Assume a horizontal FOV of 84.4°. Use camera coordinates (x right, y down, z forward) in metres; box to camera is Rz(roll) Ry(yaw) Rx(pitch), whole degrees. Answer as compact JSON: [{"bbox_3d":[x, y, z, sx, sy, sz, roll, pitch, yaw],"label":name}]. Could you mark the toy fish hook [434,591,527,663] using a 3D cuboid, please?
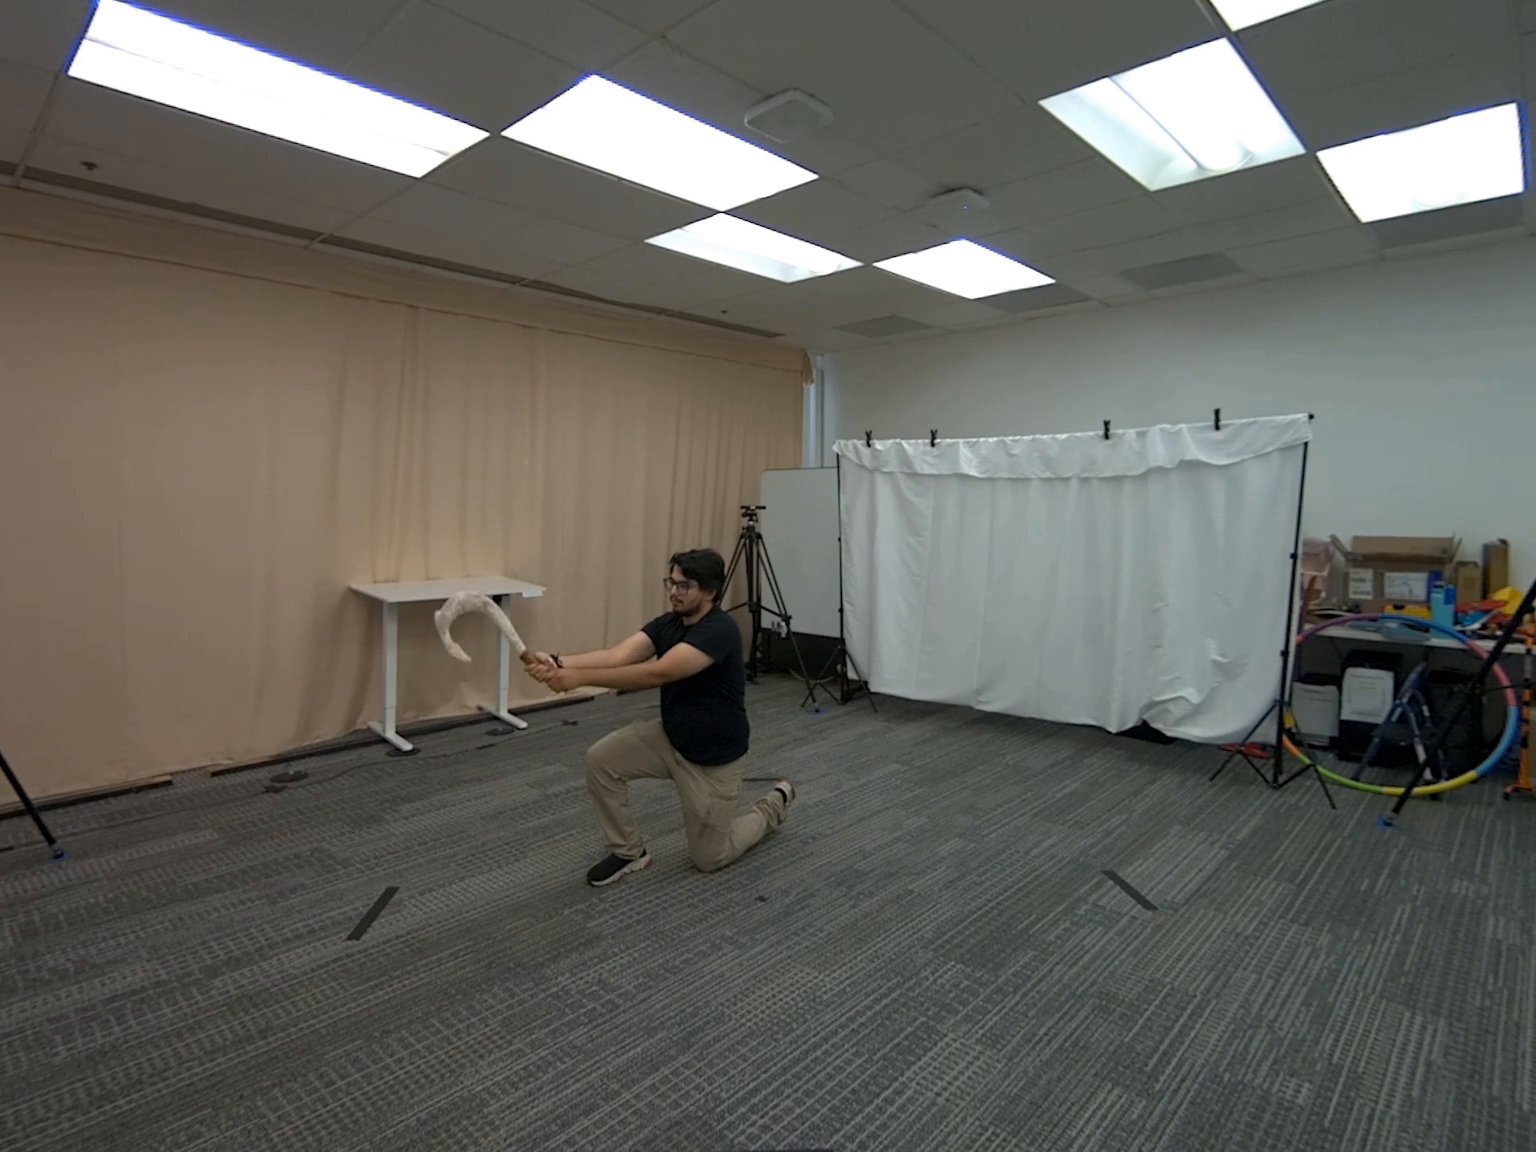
[{"bbox_3d":[-0.890,0.271,2.838,0.506,0.223,0.048,40,-23,-1],"label":"toy fish hook"}]
